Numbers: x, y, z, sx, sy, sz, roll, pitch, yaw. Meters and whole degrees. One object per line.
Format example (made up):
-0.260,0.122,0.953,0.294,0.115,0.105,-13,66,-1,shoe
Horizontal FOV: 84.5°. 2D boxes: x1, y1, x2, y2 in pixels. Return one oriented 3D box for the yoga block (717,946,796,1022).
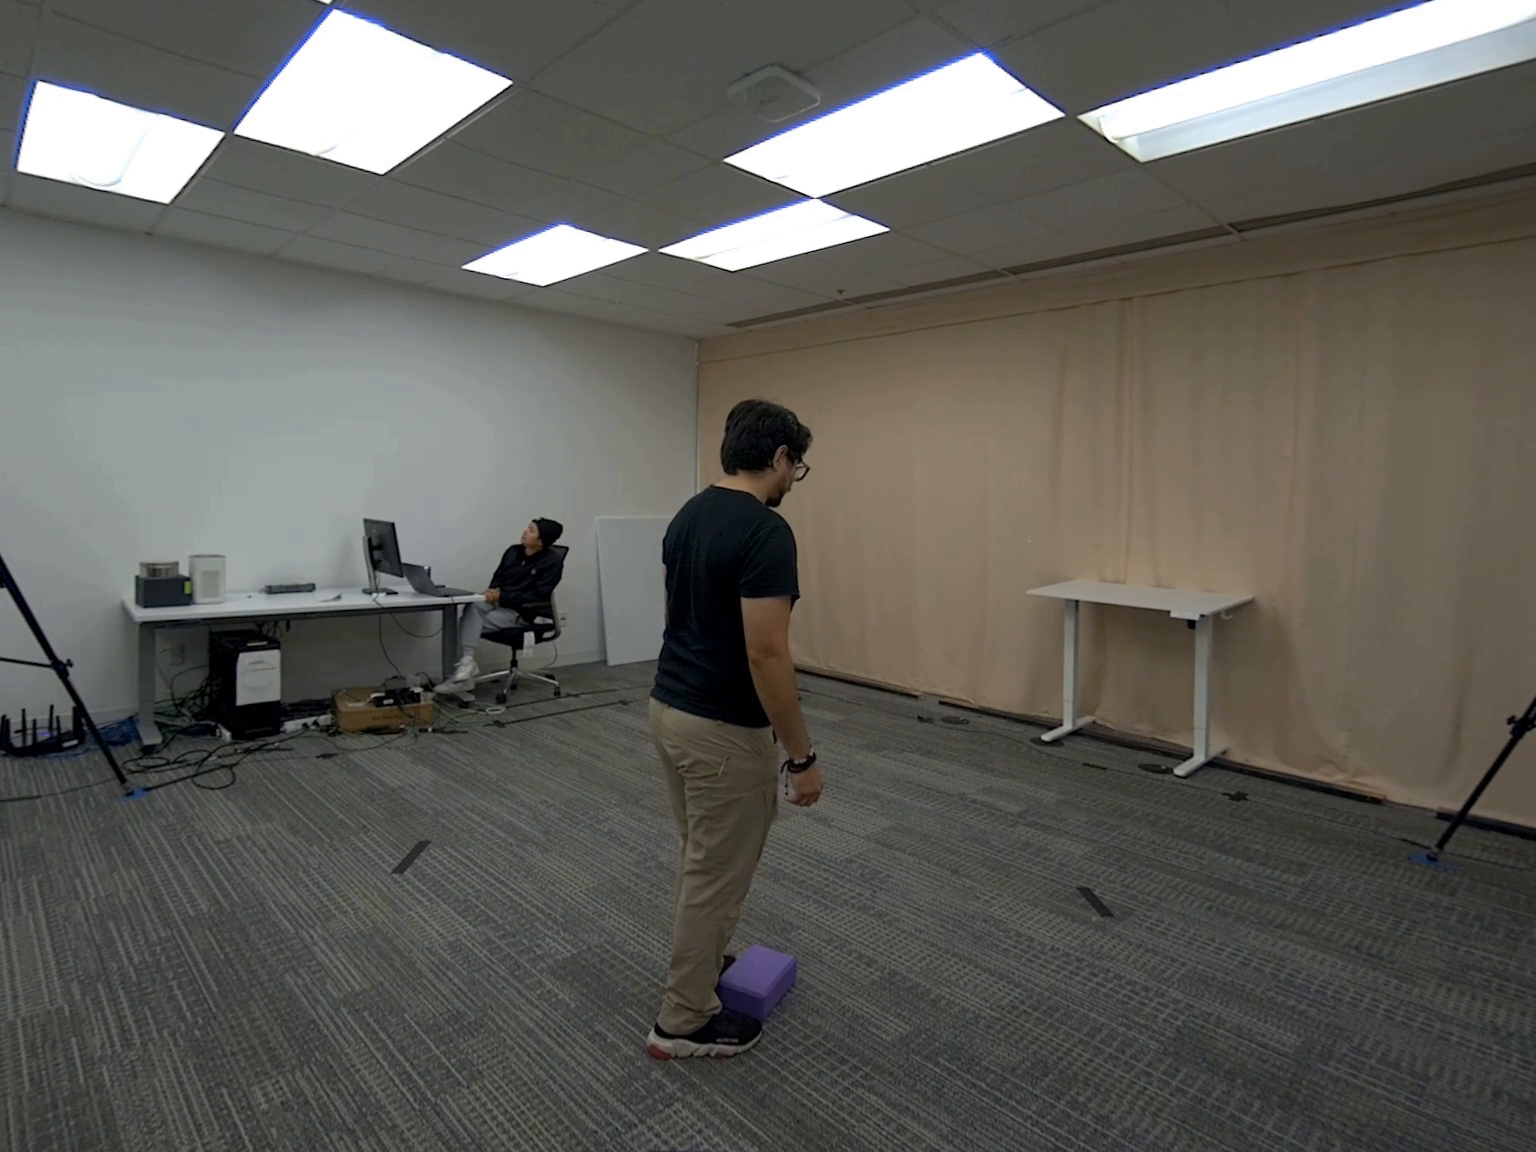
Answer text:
-0.035,1.137,2.361,0.152,0.076,0.225,4,4,26,yoga block
